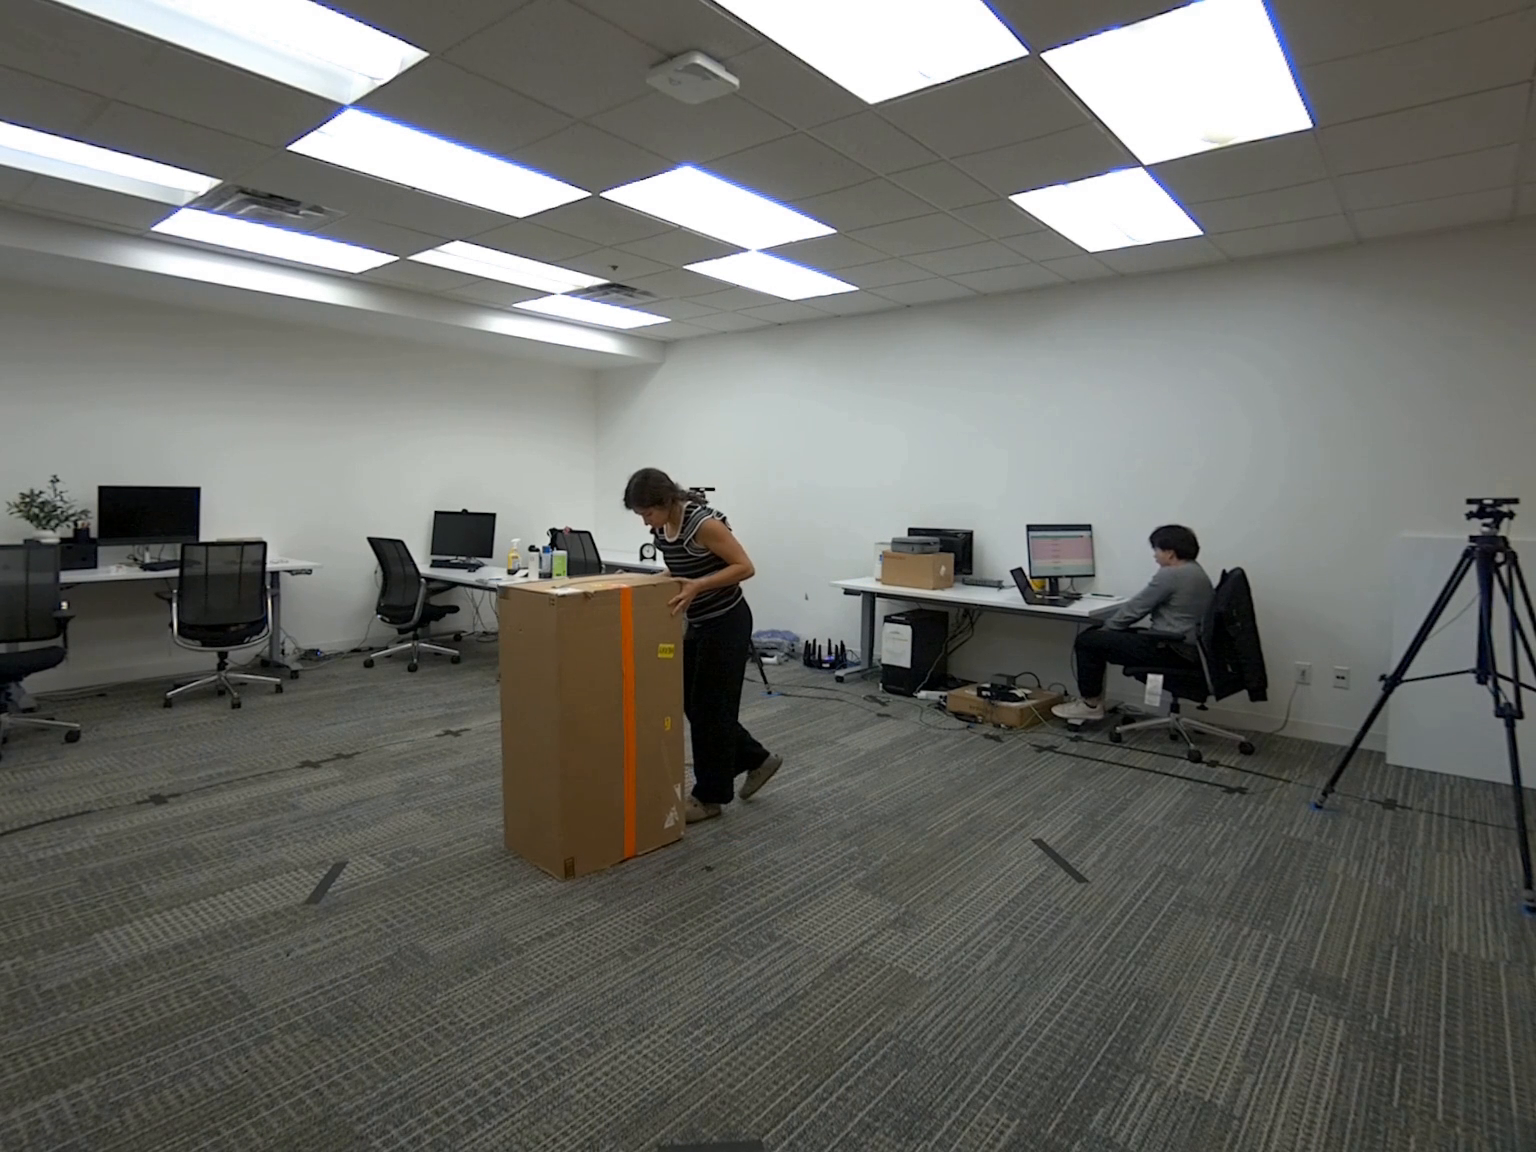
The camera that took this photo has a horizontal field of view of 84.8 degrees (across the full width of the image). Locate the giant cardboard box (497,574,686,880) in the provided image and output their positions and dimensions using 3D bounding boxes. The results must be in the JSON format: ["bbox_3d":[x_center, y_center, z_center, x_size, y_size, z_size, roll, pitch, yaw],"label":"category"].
[{"bbox_3d":[-0.689,0.535,3.286,0.560,1.022,0.440,-4,5,-44],"label":"giant cardboard box"}]
